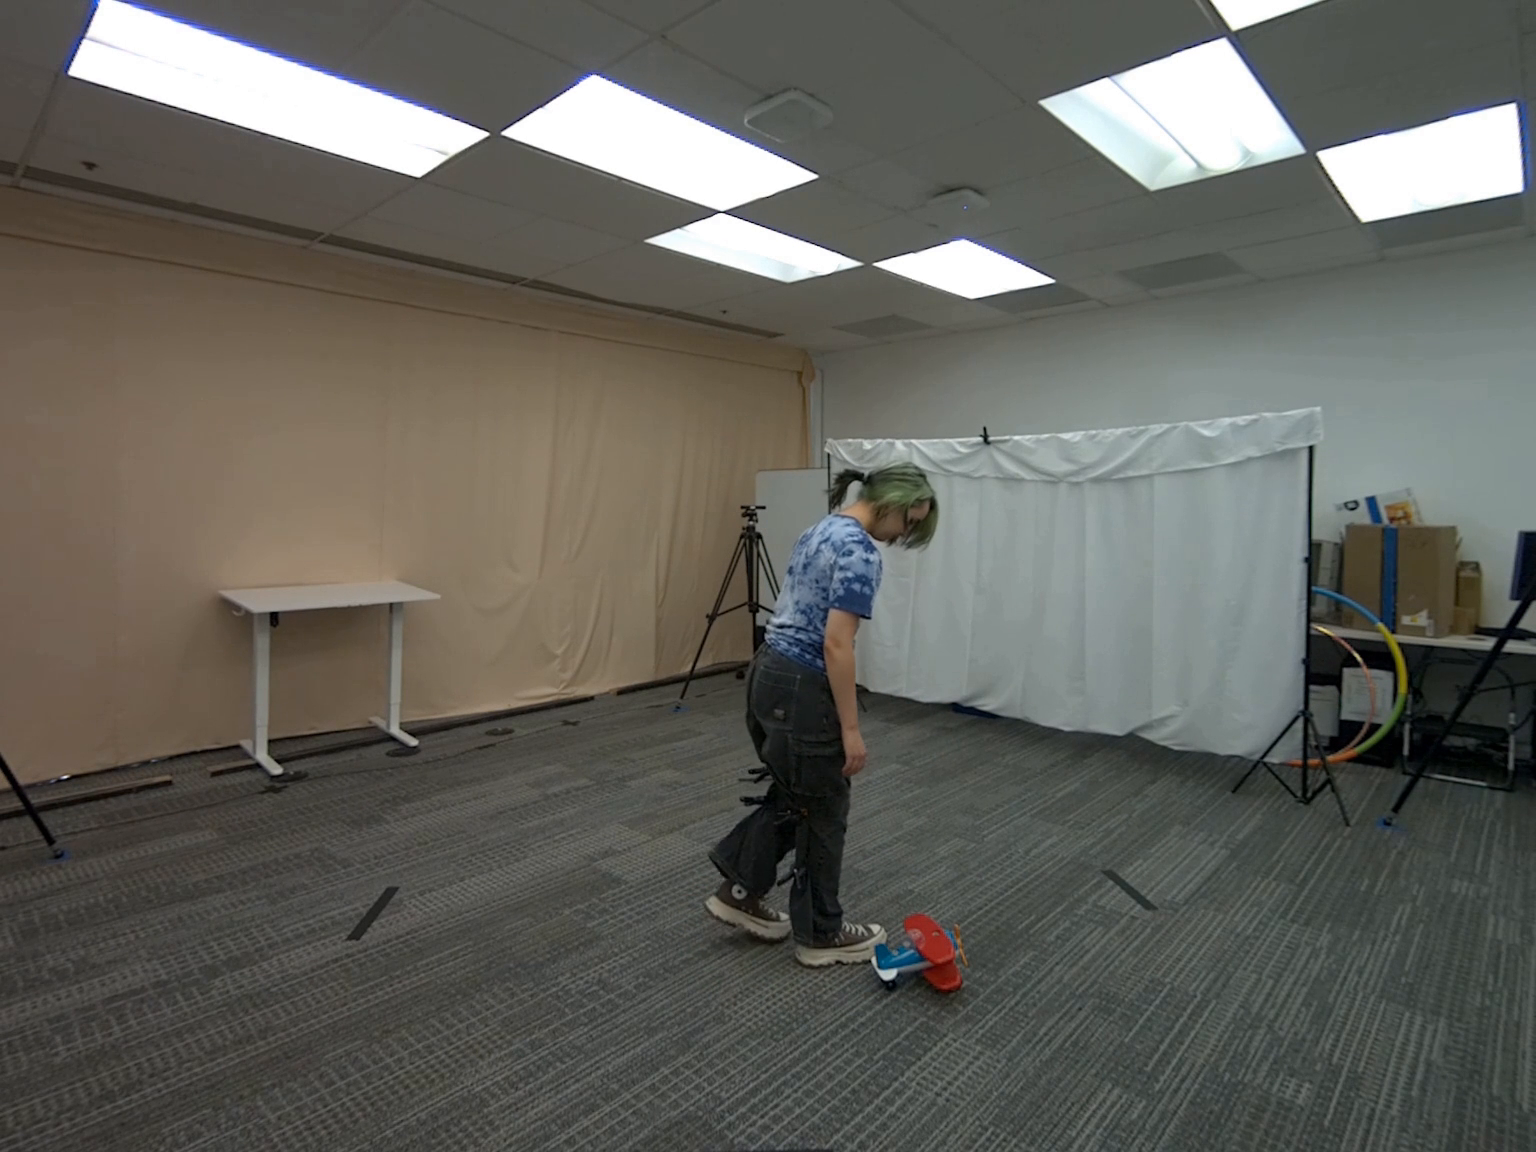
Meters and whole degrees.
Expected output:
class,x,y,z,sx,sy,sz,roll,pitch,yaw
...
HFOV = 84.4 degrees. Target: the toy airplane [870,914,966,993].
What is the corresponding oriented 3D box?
class,x,y,z,sx,sy,sz,roll,pitch,yaw
toy airplane,0.451,1.123,2.419,0.252,0.156,0.259,-3,6,-35
